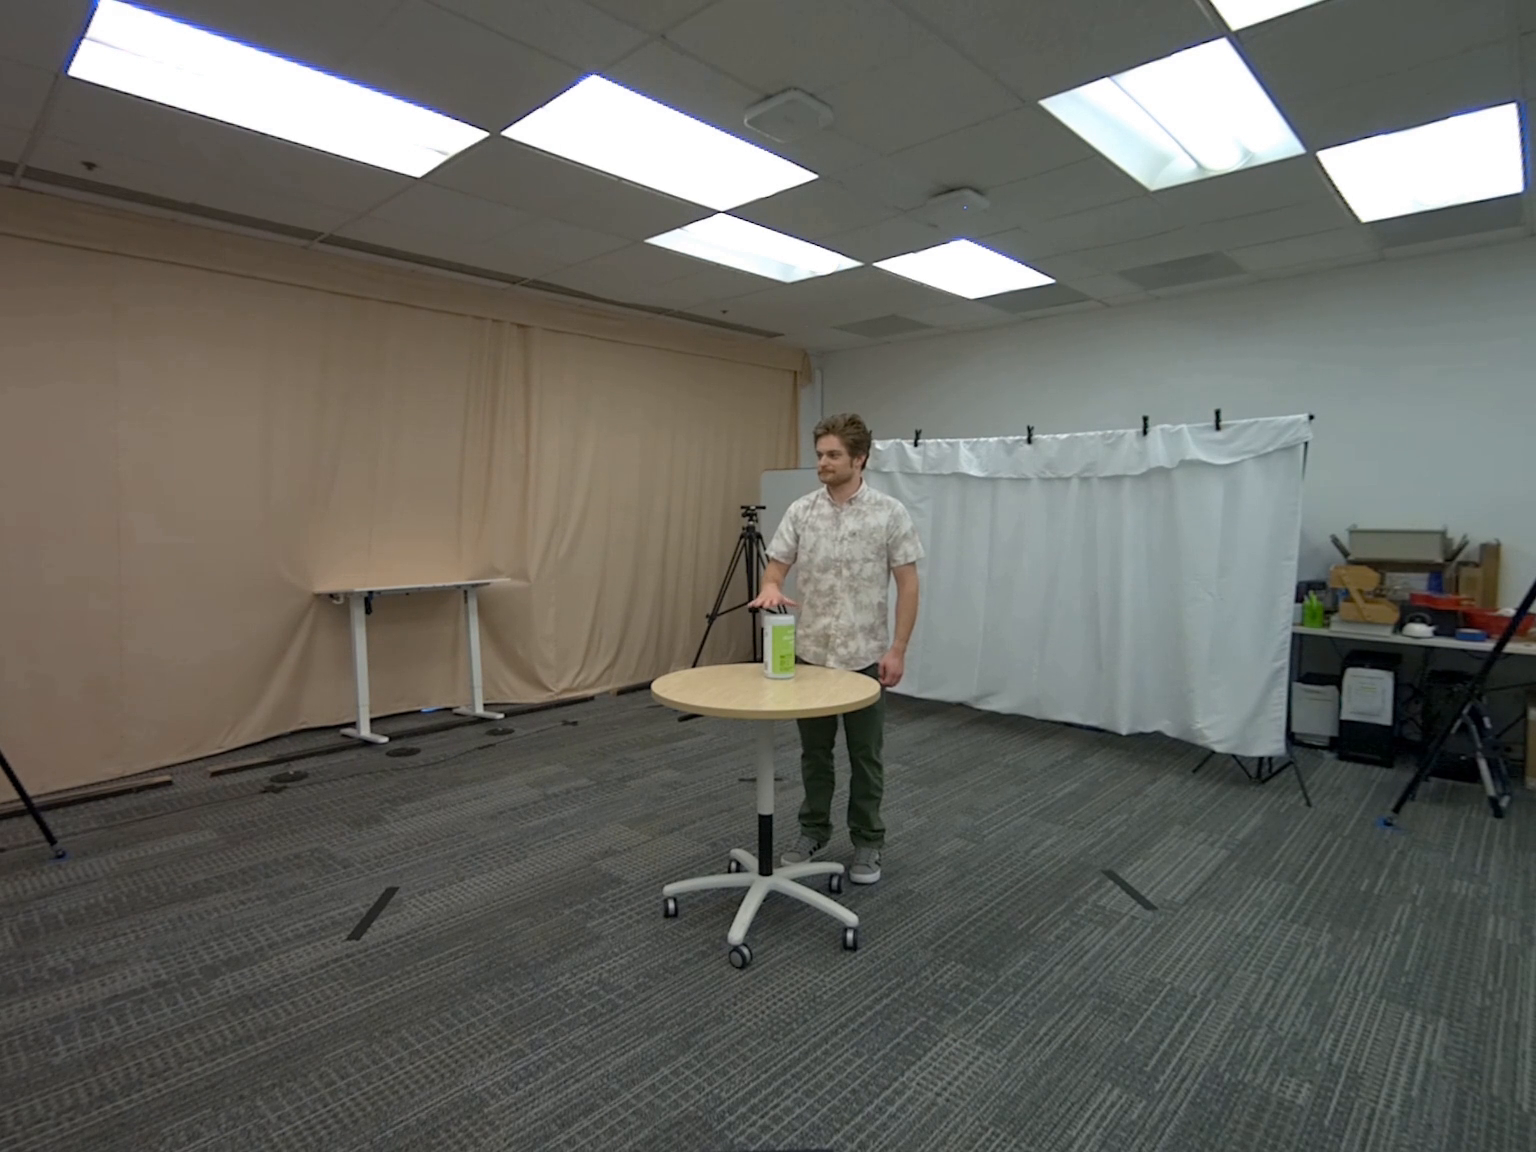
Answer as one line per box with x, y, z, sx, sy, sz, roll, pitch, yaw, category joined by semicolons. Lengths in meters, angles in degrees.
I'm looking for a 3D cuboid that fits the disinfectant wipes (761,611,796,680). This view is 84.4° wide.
0.039;0.248;2.953;0.117;0.217;0.118;2;3;-2;disinfectant wipes
